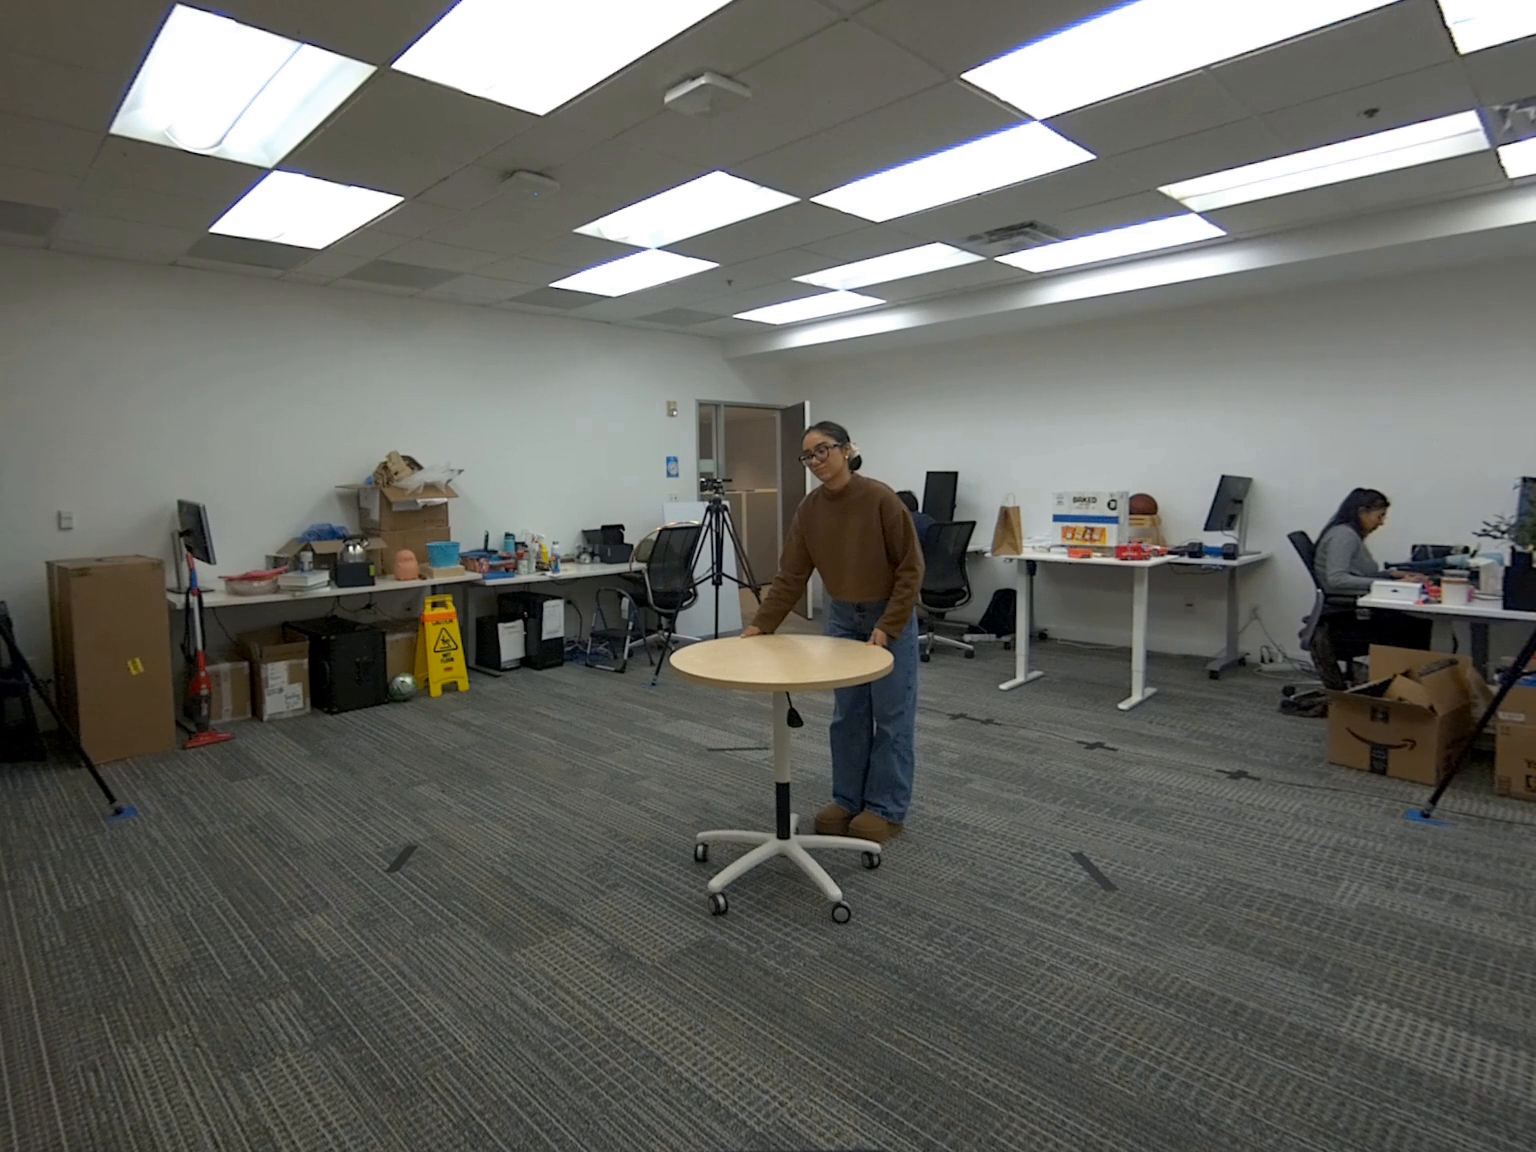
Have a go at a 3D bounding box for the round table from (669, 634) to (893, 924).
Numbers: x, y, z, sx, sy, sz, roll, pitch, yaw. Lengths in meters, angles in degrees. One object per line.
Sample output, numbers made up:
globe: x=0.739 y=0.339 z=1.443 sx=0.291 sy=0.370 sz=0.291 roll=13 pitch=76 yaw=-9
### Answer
round table: x=0.047 y=0.666 z=2.978 sx=0.763 sy=0.791 sz=0.768 roll=-1 pitch=5 yaw=-2
